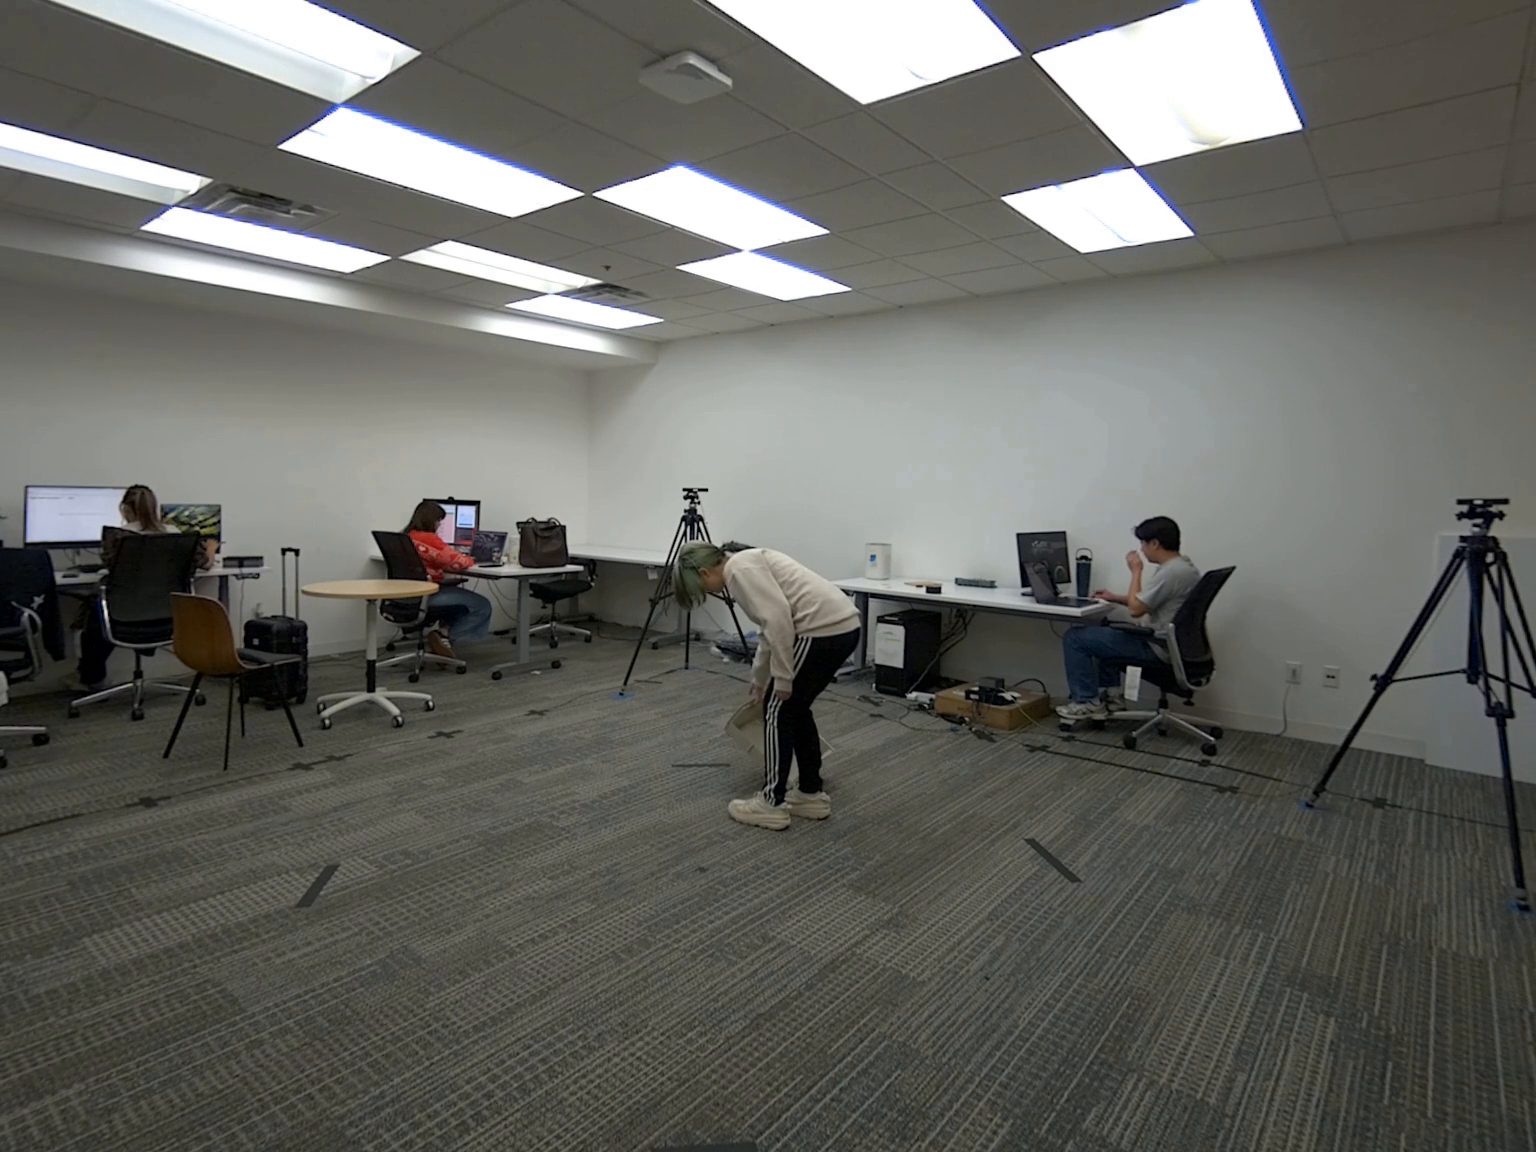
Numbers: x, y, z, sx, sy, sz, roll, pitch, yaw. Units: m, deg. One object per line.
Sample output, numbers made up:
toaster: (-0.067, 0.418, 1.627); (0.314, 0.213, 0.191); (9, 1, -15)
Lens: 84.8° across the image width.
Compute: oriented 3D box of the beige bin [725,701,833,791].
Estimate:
beige bin: (0.036, 0.788, 4.048); (0.434, 0.188, 0.369); (40, 18, 19)
